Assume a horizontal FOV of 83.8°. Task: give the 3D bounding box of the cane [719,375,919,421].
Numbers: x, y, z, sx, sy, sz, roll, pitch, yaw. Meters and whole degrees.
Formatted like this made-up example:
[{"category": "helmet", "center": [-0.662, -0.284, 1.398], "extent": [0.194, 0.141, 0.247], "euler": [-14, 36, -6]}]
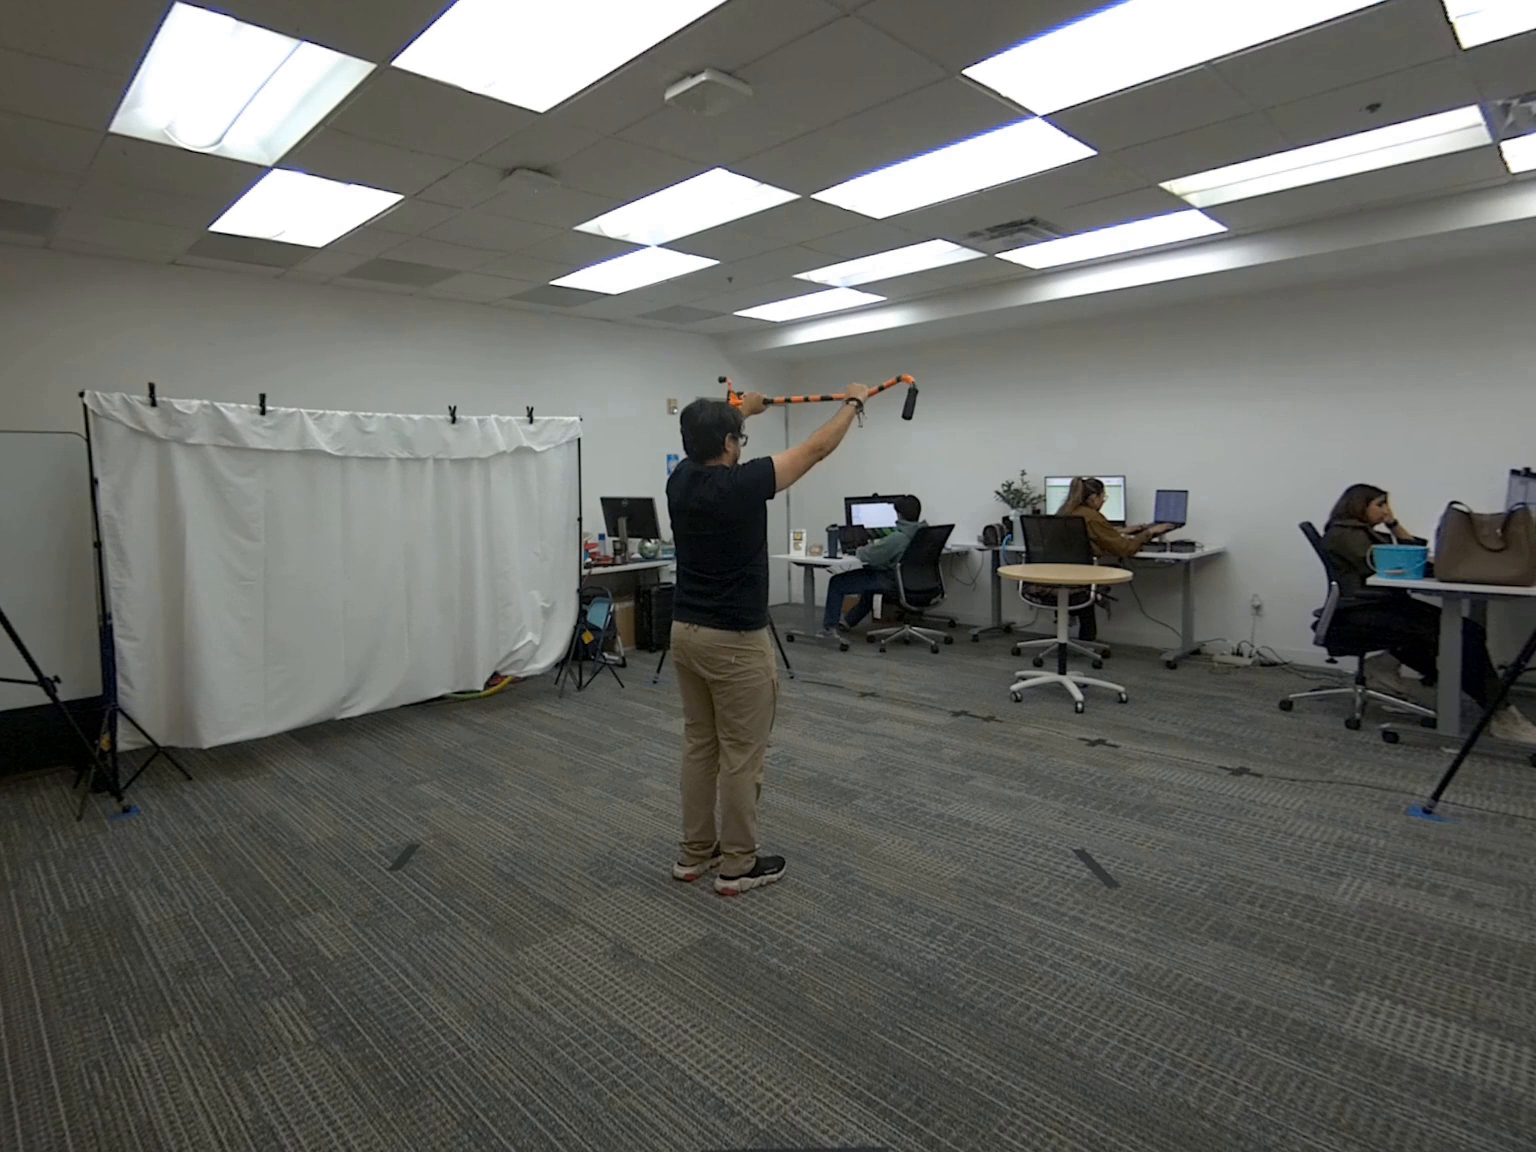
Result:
[{"category": "cane", "center": [0.163, -0.657, 3.207], "extent": [0.937, 0.208, 0.146], "euler": [7, -16, 42]}]
